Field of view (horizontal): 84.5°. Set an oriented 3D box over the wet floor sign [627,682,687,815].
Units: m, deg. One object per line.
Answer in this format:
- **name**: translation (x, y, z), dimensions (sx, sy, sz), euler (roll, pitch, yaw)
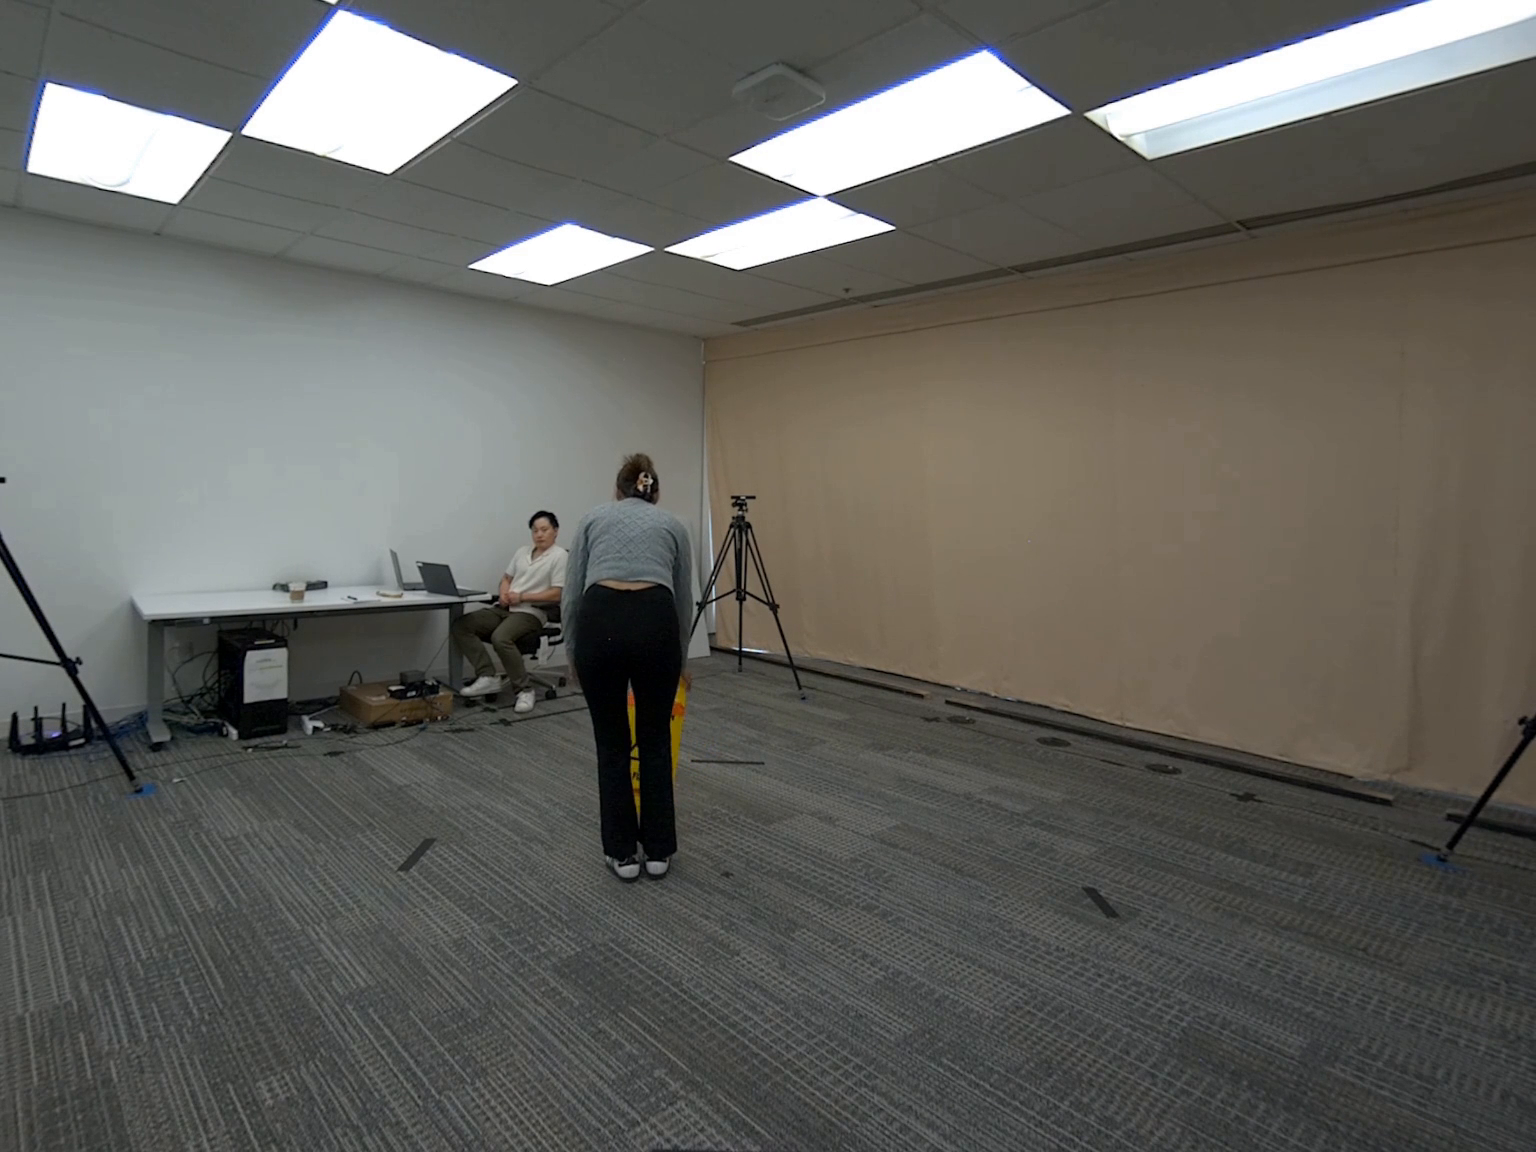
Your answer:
- **wet floor sign**: translation (-0.504, 0.719, 3.558), dimensions (0.281, 0.645, 0.291), euler (11, 2, -5)
